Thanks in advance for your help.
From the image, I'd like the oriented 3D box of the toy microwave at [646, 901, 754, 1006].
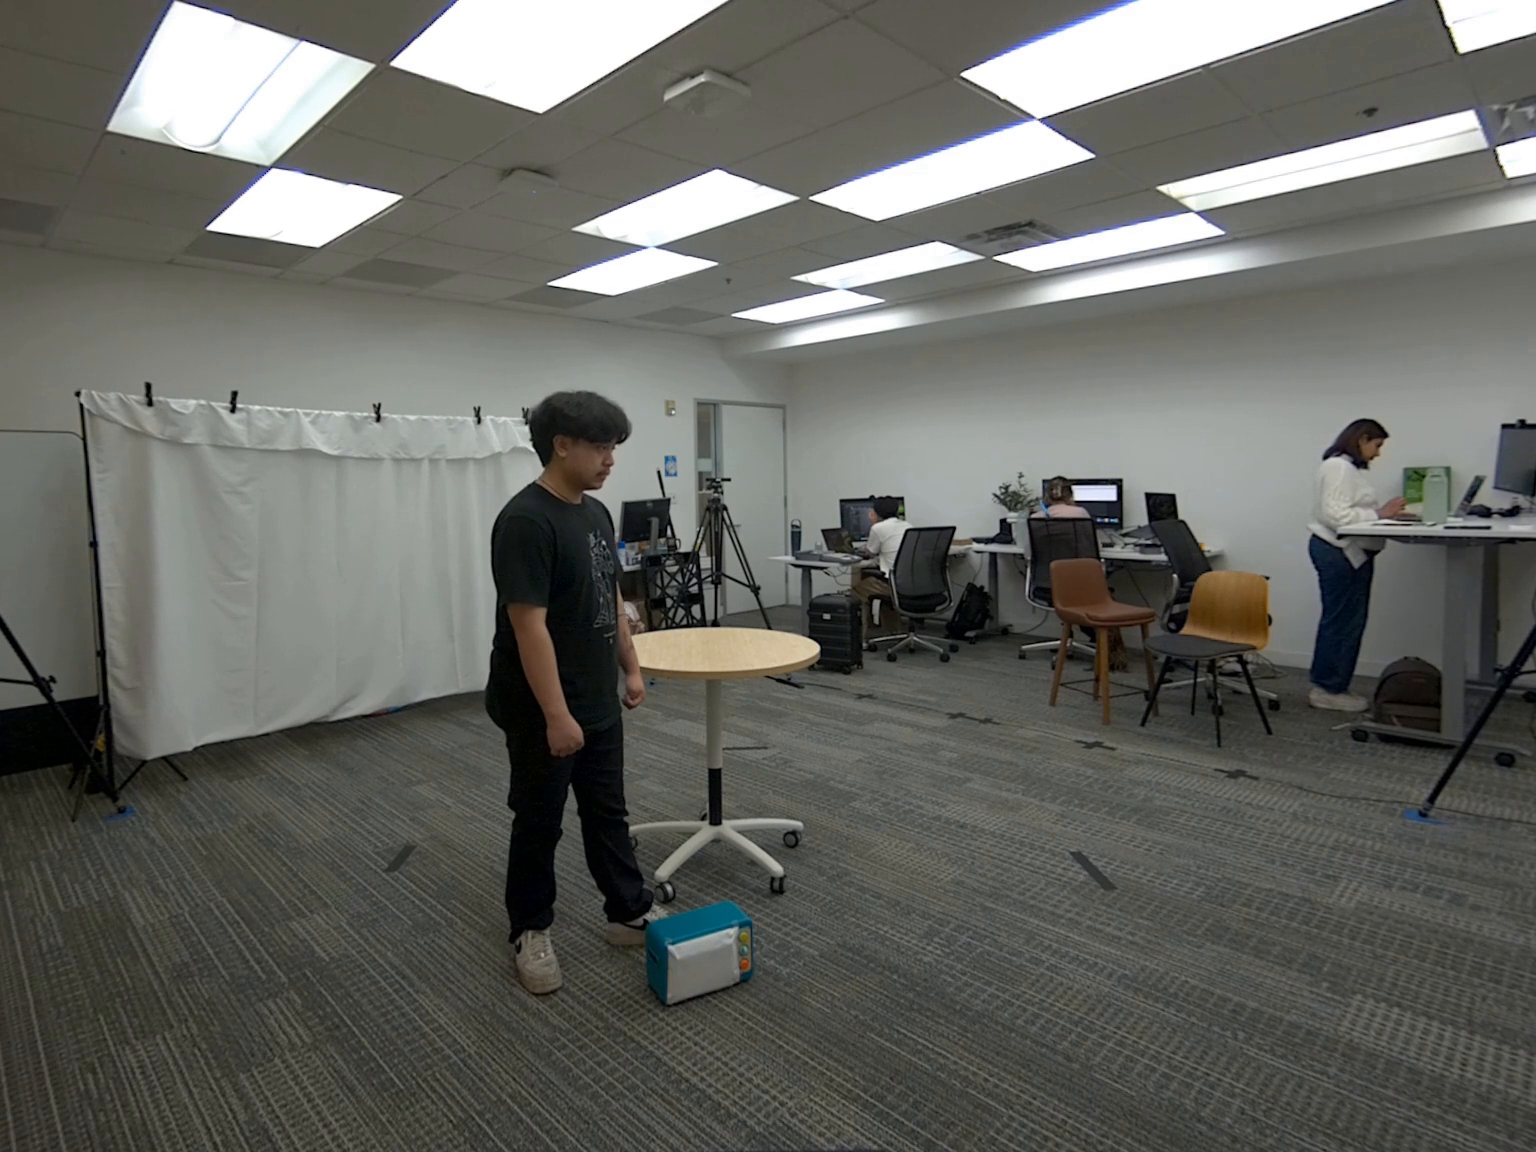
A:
[{"bbox_3d":[-0.185,1.037,2.369,0.280,0.183,0.156,-4,6,-27],"label":"toy microwave"}]
